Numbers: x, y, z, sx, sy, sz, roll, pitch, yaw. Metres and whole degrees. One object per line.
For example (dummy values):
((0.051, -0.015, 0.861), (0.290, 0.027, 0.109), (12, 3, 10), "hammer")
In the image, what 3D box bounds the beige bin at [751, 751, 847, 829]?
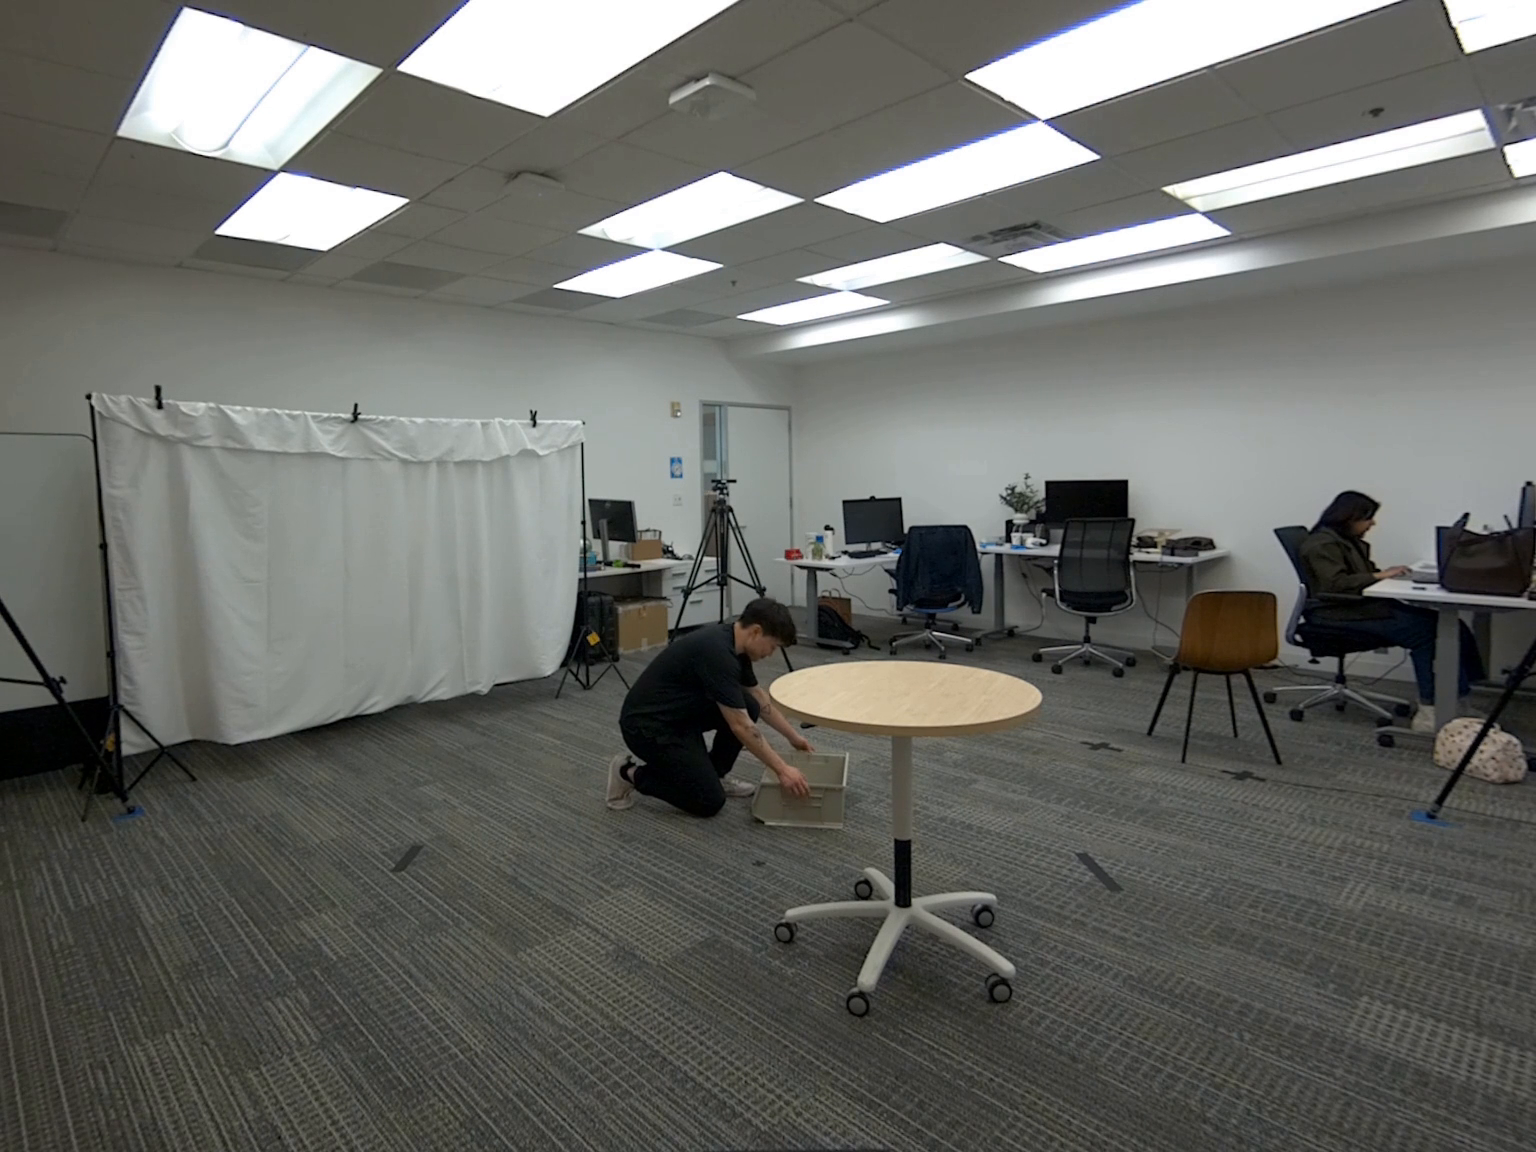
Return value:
((0.143, 0.891, 3.625), (0.381, 0.188, 0.420), (0, 6, 8), "beige bin")
